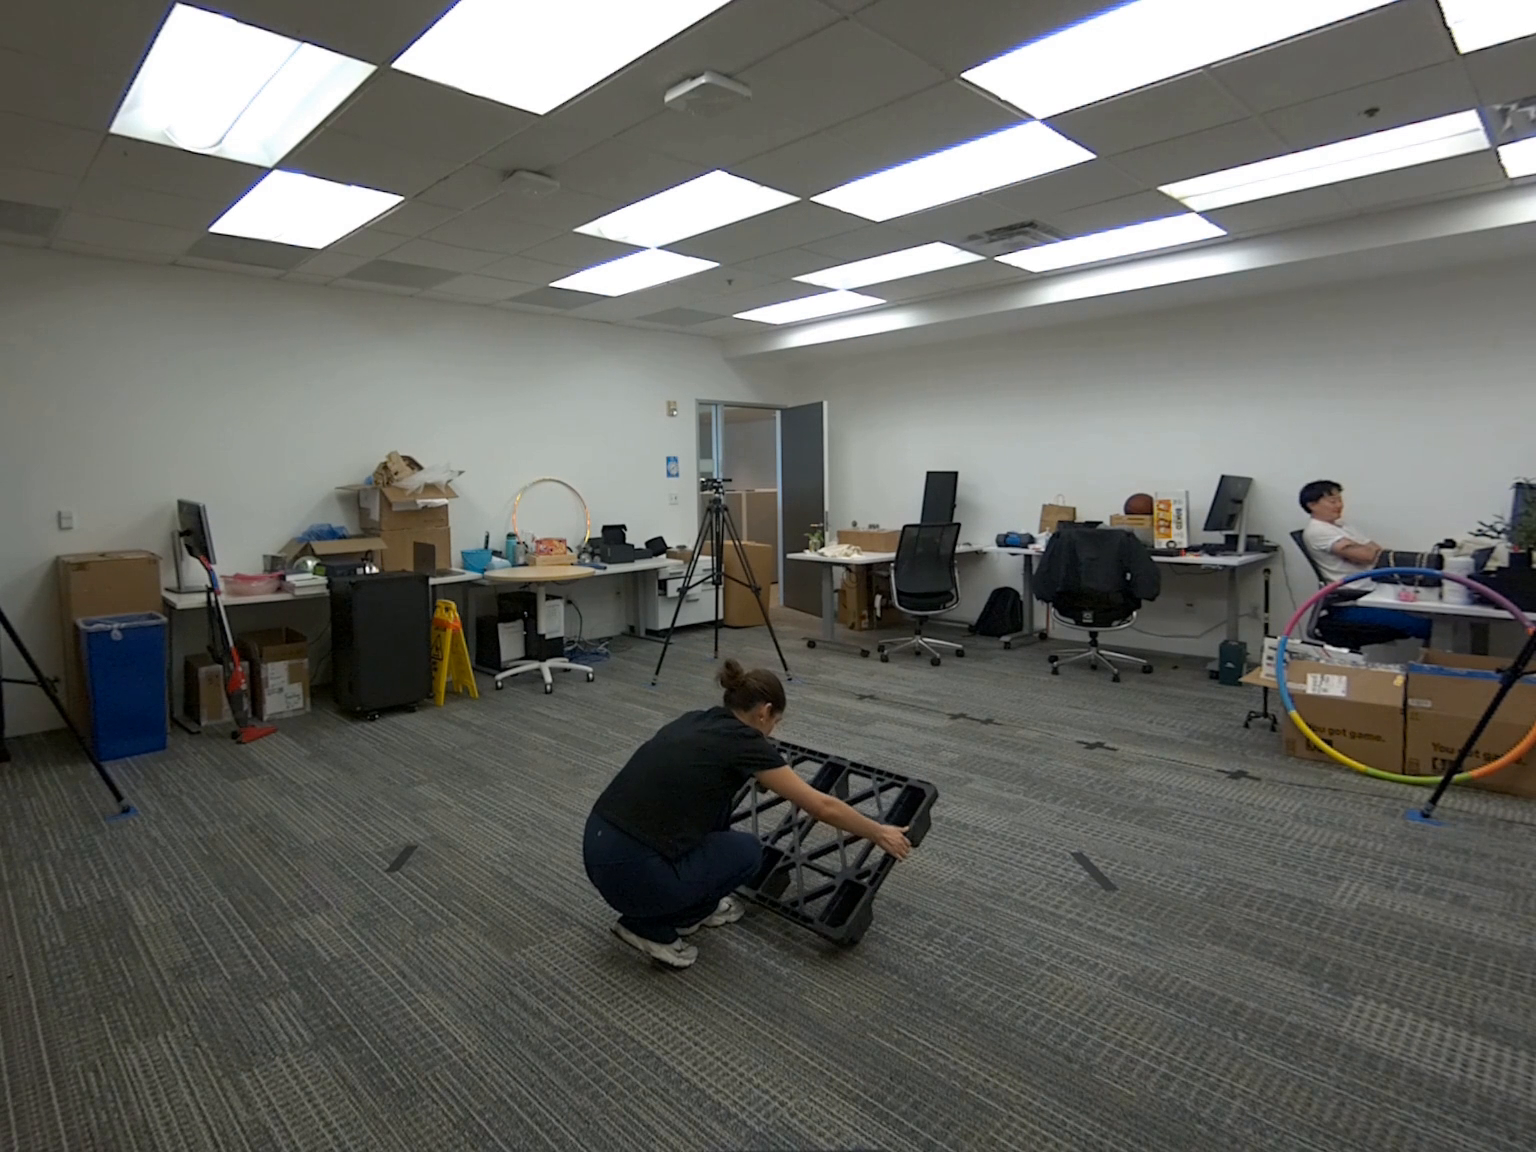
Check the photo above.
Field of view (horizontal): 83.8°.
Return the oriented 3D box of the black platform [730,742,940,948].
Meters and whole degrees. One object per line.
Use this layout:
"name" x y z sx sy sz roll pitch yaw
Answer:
"black platform" 0.115 0.881 2.913 0.830 0.139 0.604 5 41 45
